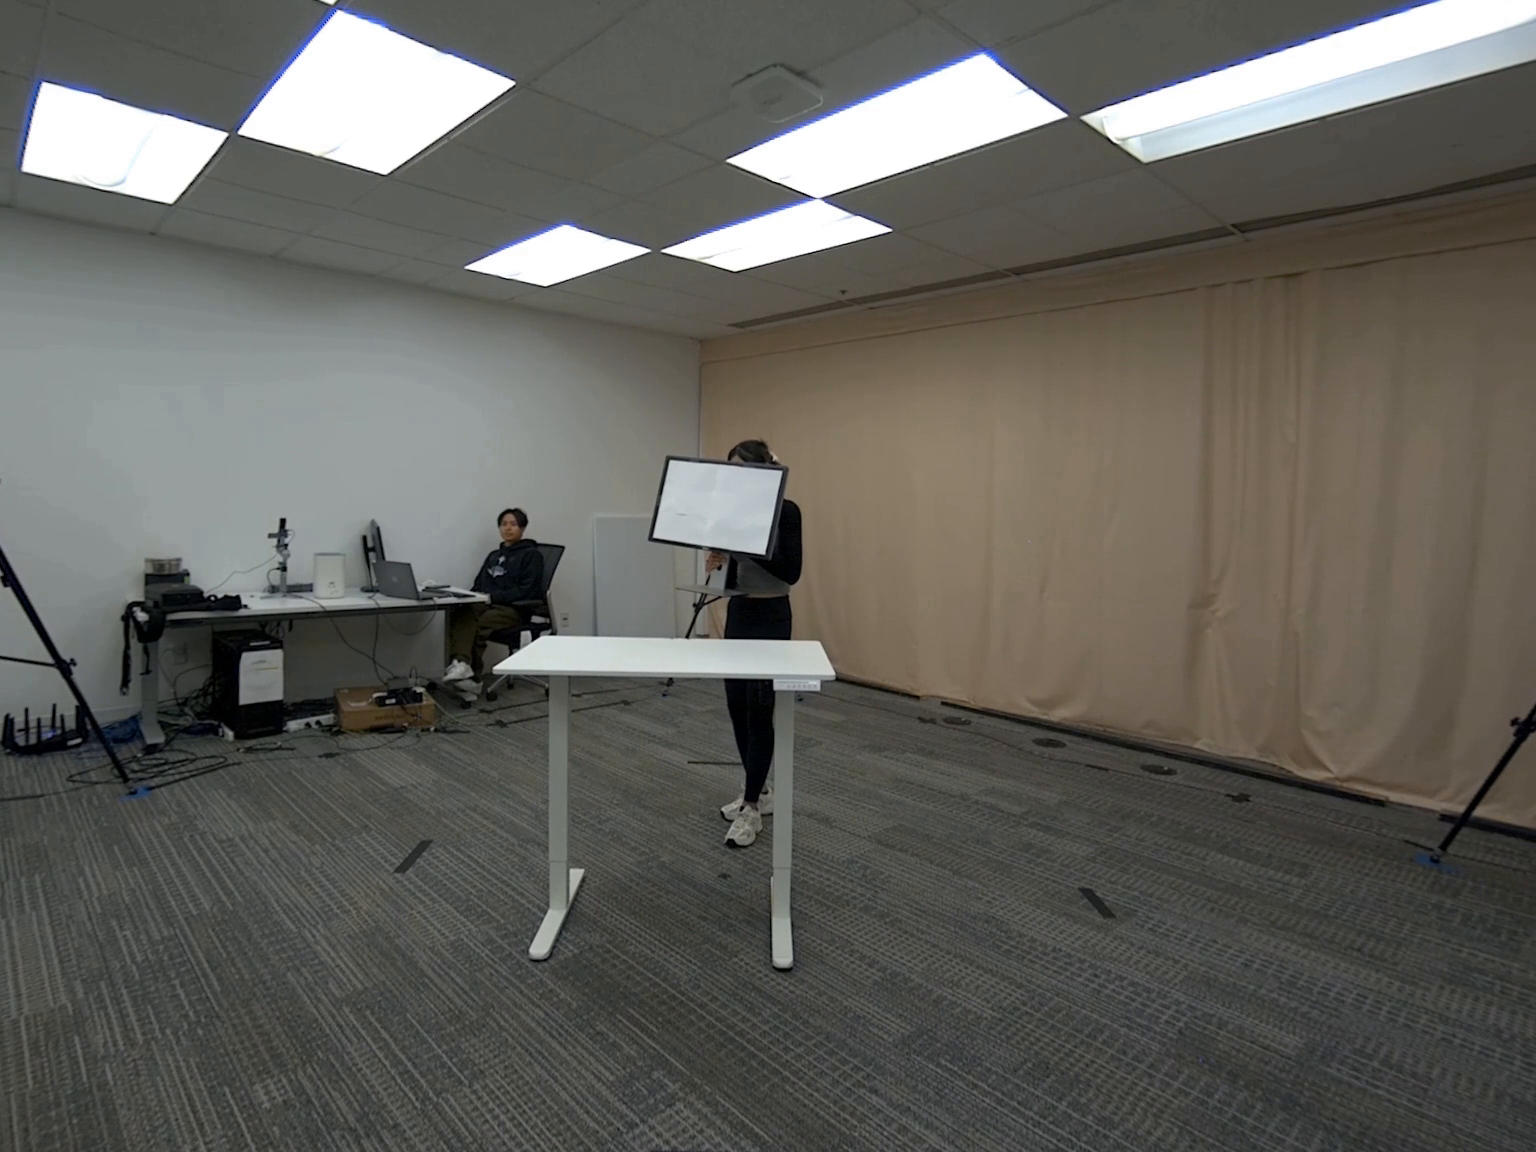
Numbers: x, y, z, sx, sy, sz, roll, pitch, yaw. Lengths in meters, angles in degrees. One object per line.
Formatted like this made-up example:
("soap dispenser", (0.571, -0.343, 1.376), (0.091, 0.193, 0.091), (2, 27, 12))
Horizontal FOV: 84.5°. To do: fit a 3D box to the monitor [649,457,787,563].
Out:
("monitor", (-0.209, -0.193, 3.346), (0.551, 0.521, 0.183), (9, 5, 27))
